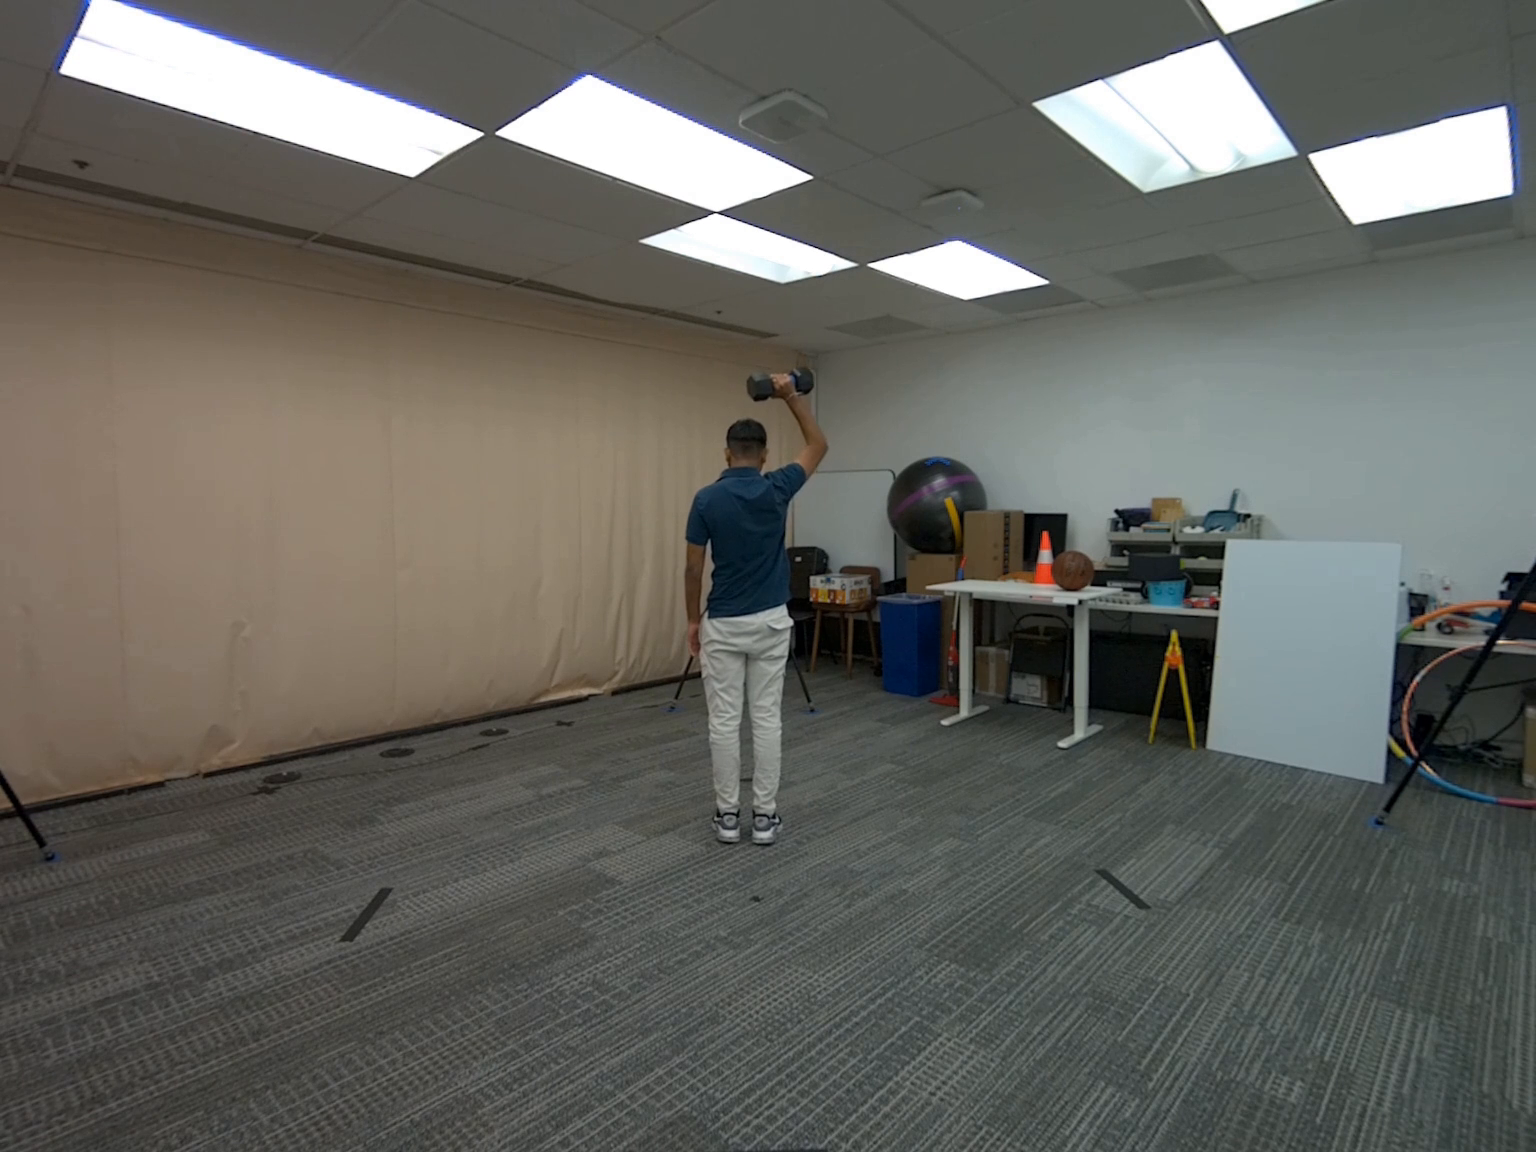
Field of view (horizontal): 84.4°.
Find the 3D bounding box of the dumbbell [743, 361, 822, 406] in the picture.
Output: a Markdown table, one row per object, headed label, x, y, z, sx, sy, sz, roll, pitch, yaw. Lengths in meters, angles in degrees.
| label | x | y | z | sx | sy | sz | roll | pitch | yaw |
| --- | --- | --- | --- | --- | --- | --- | --- | --- | --- |
| dumbbell | 0.061 | -0.836 | 3.663 | 0.287 | 0.110 | 0.124 | -14 | -11 | -25 |
